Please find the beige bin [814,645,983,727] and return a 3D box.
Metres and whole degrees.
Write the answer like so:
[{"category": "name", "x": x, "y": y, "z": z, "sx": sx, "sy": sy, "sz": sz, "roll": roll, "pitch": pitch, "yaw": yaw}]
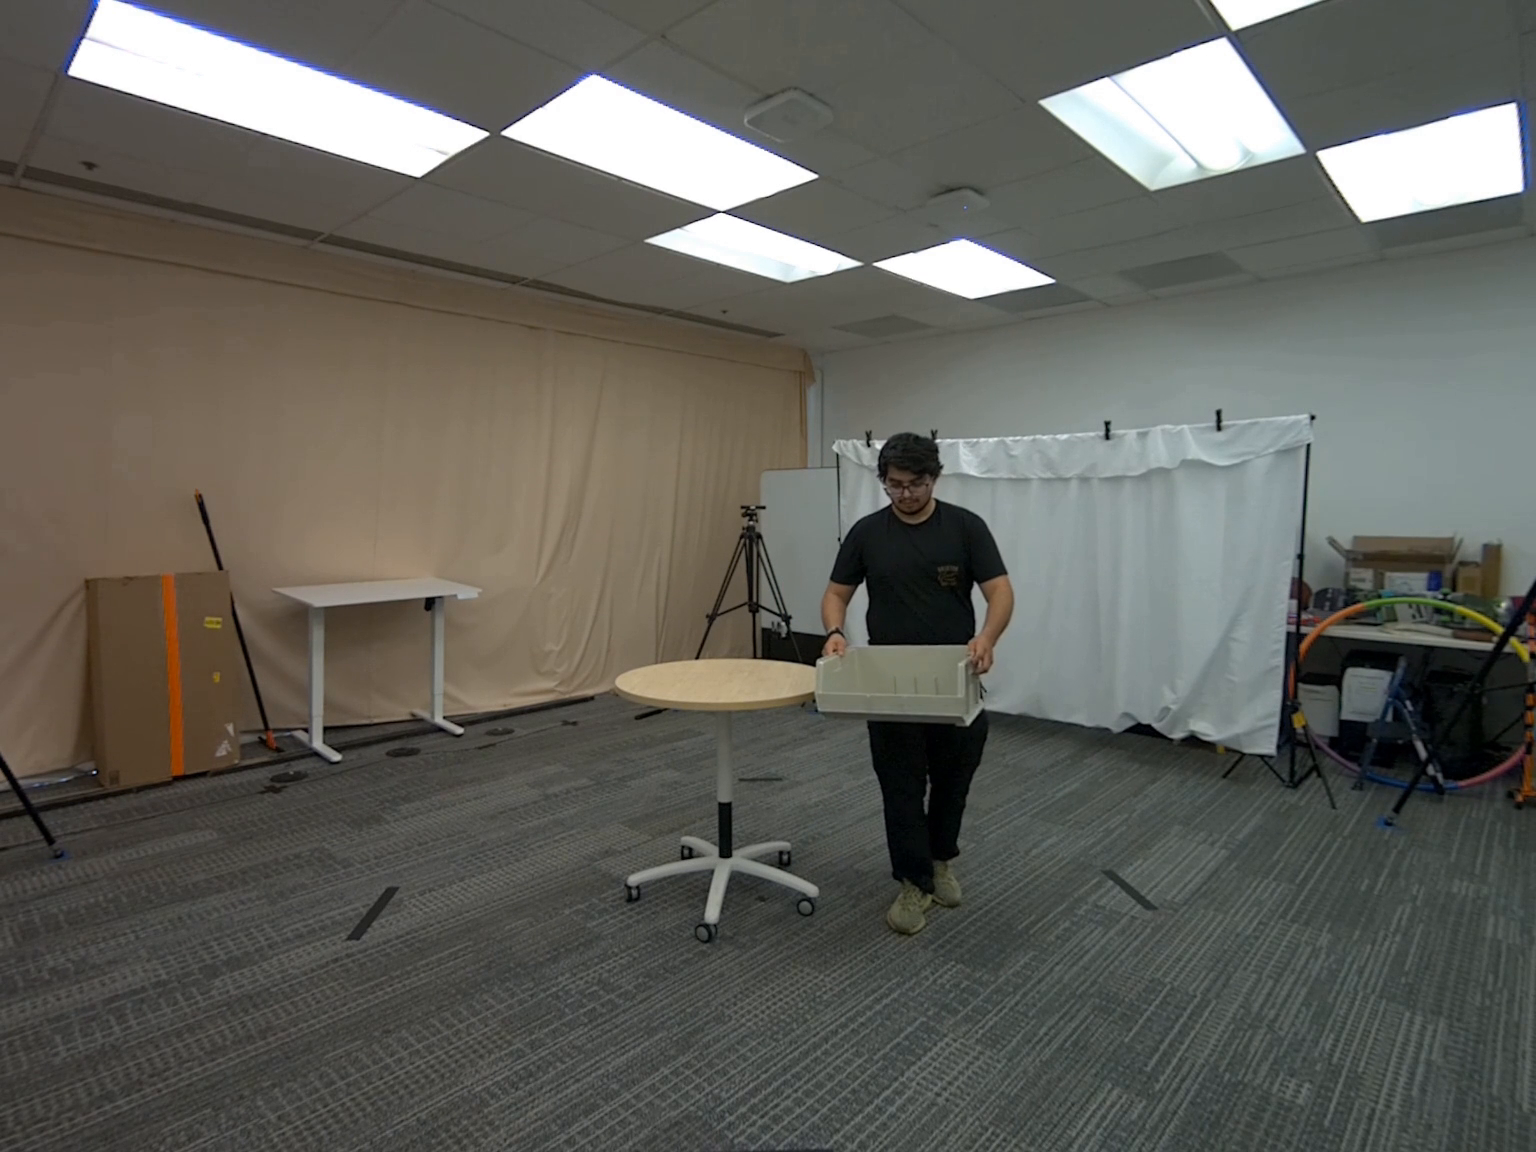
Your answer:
[{"category": "beige bin", "x": 0.400, "y": 0.317, "z": 2.488, "sx": 0.432, "sy": 0.189, "sz": 0.368, "roll": -3, "pitch": 0, "yaw": 24}]
